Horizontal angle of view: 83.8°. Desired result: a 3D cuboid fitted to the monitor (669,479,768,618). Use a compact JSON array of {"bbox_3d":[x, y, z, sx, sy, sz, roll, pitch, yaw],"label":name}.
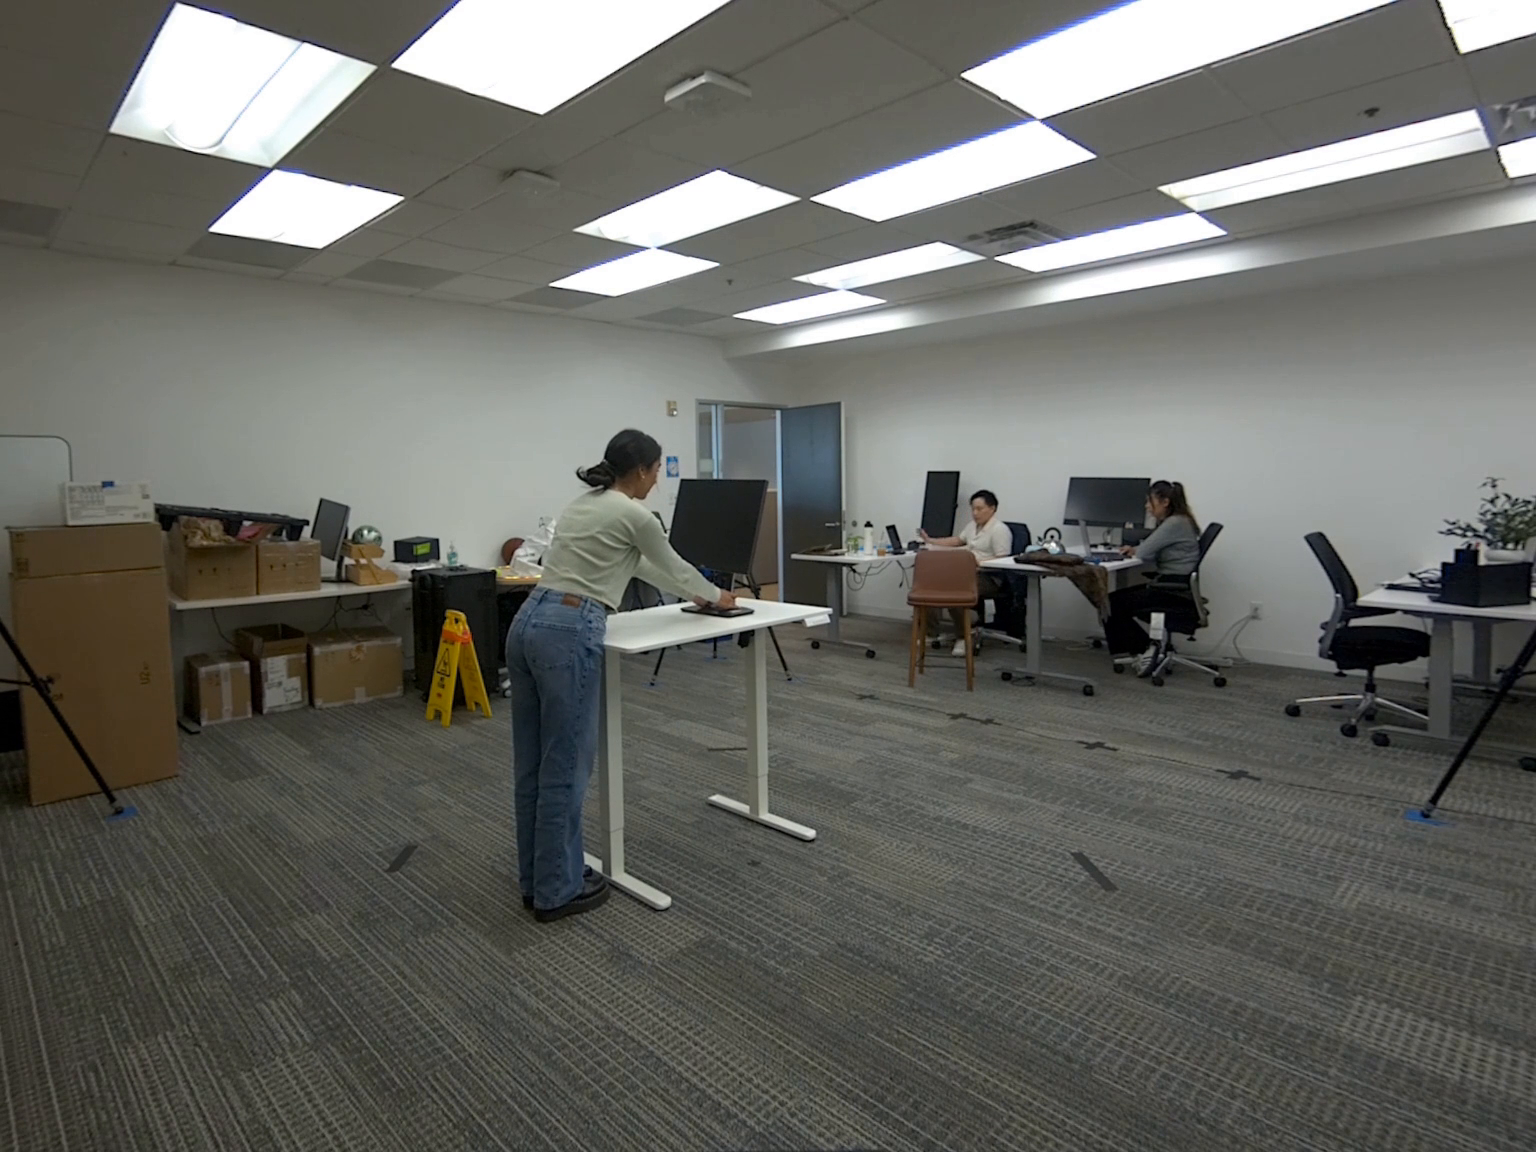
[{"bbox_3d":[-0.190,-0.114,3.296,0.182,0.521,0.555,-3,6,-38],"label":"monitor"}]
